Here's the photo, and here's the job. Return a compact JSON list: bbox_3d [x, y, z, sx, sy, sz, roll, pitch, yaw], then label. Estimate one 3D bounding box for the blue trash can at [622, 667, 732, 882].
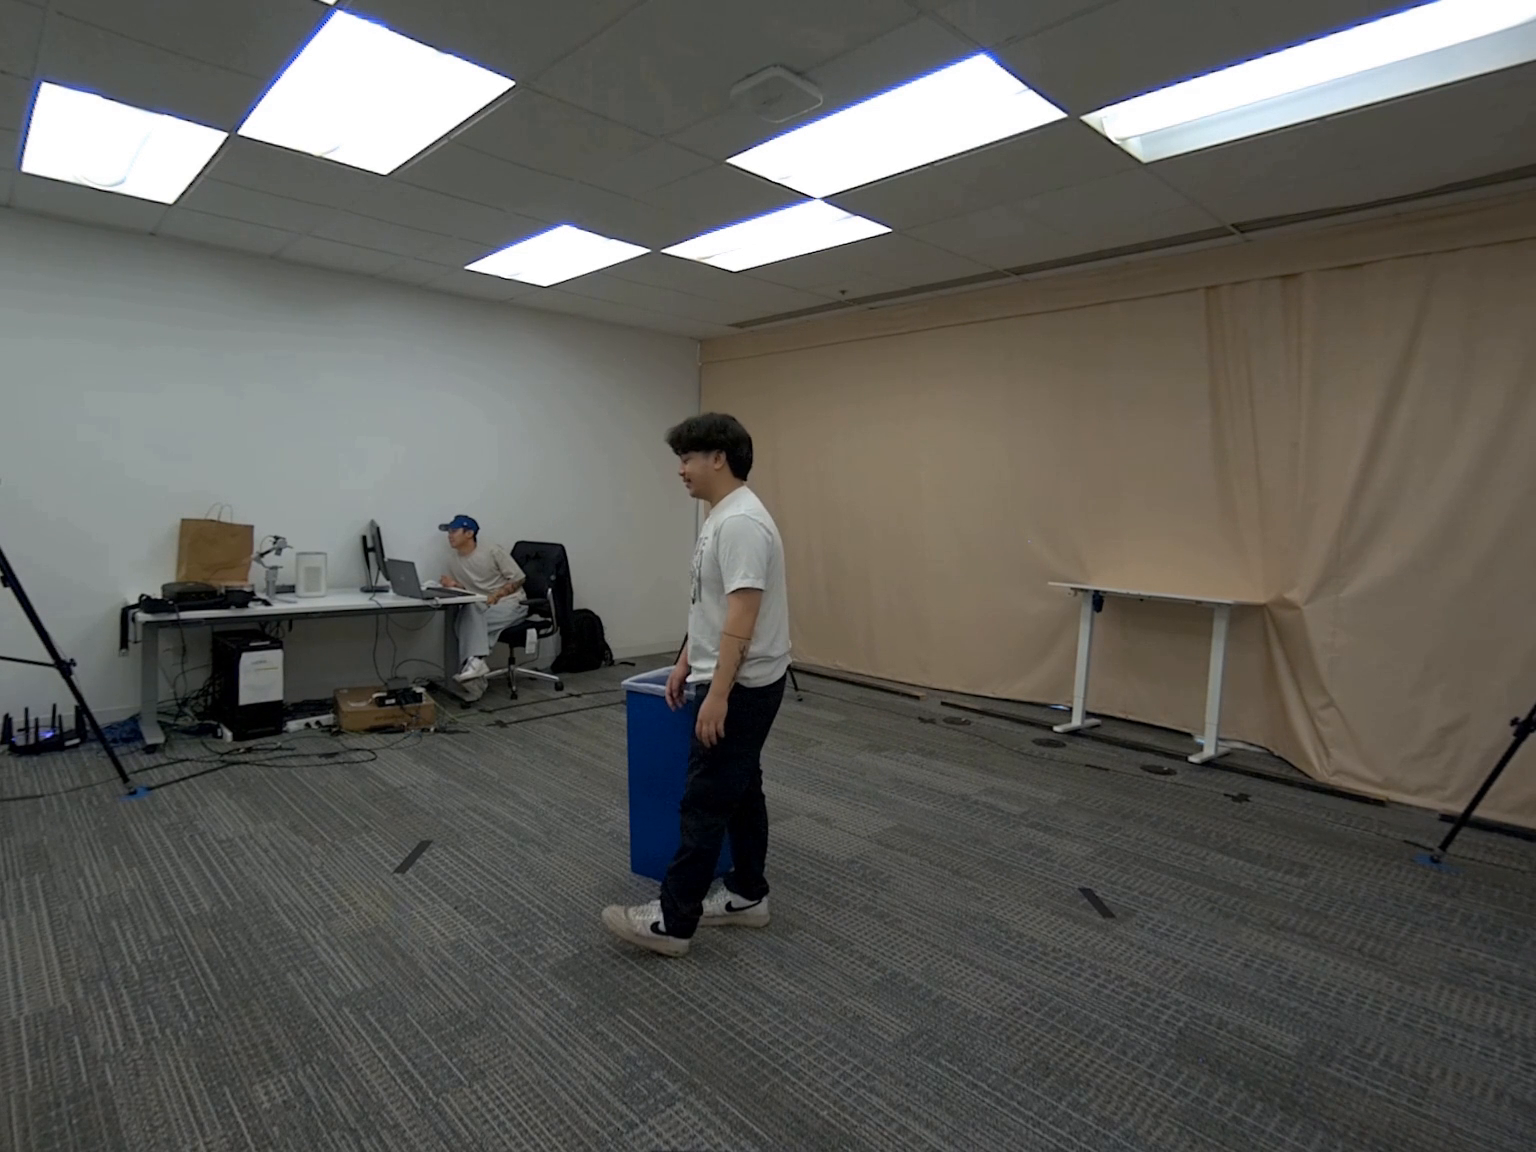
[{"bbox_3d":[-0.322,0.741,3.159,0.382,0.712,0.370,4,3,31],"label":"blue trash can"}]
